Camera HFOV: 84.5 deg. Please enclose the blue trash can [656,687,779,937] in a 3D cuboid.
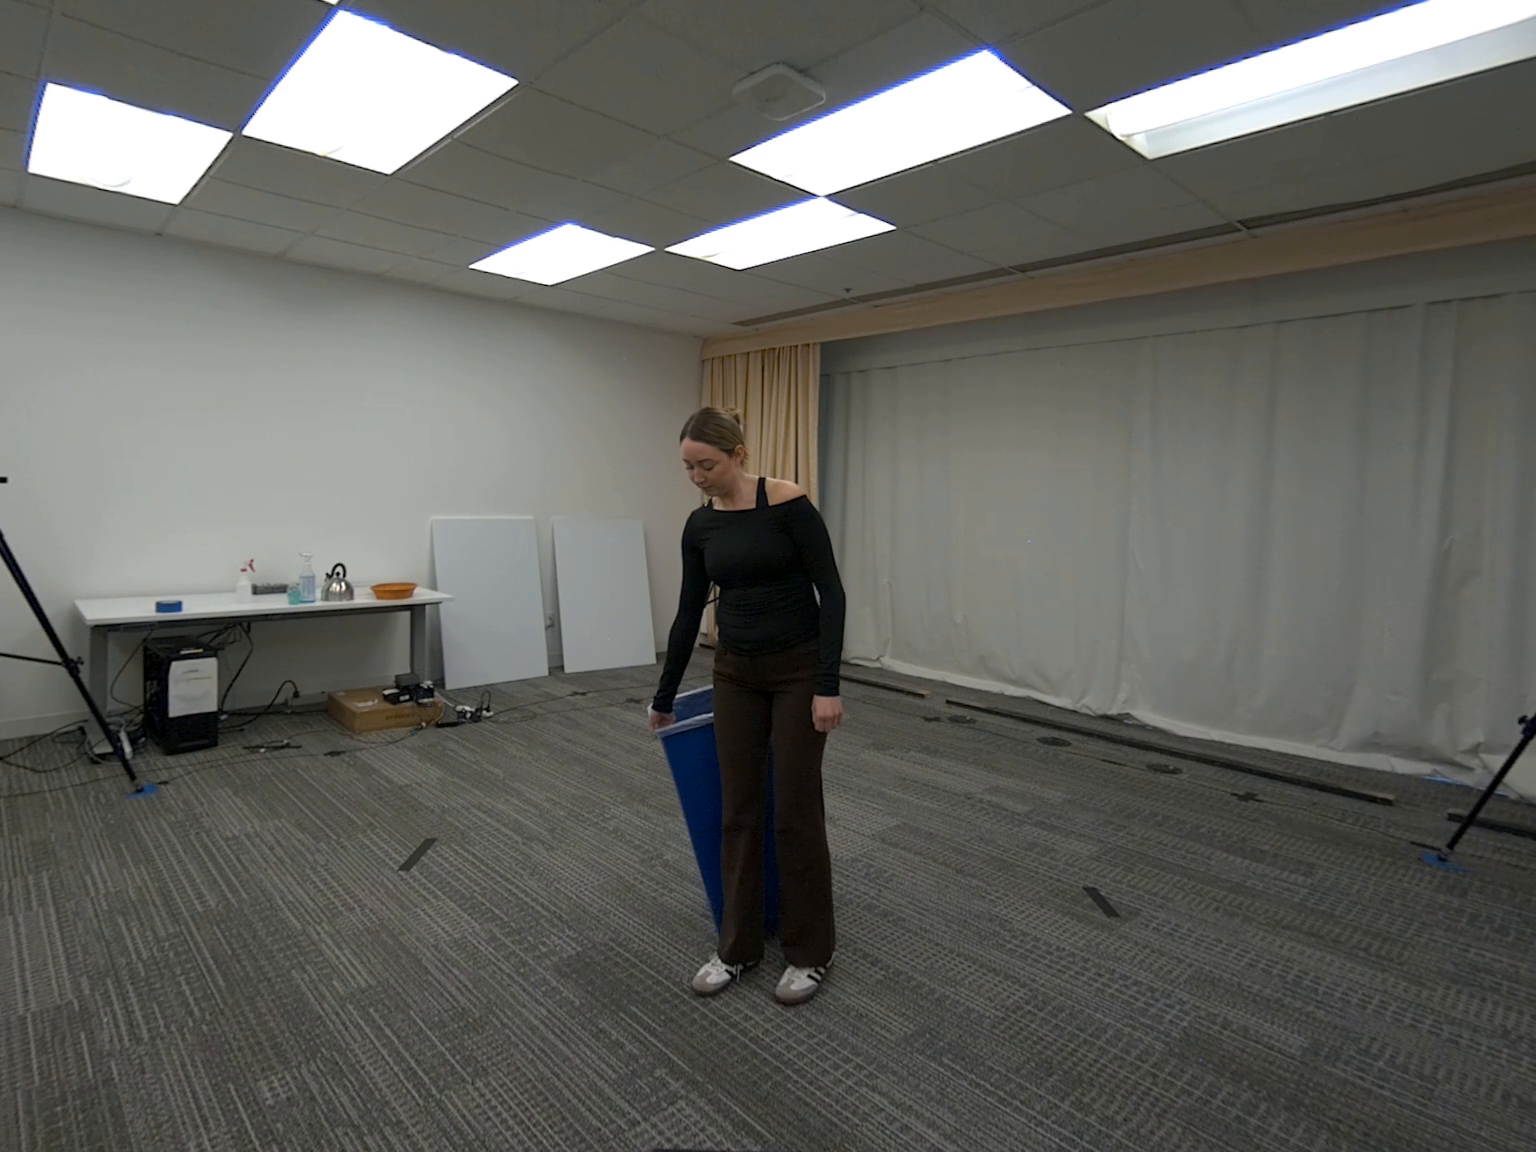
[{"bbox_3d":[-0.121,0.751,2.739,0.372,0.711,0.381,-13,4,-8],"label":"blue trash can"}]
